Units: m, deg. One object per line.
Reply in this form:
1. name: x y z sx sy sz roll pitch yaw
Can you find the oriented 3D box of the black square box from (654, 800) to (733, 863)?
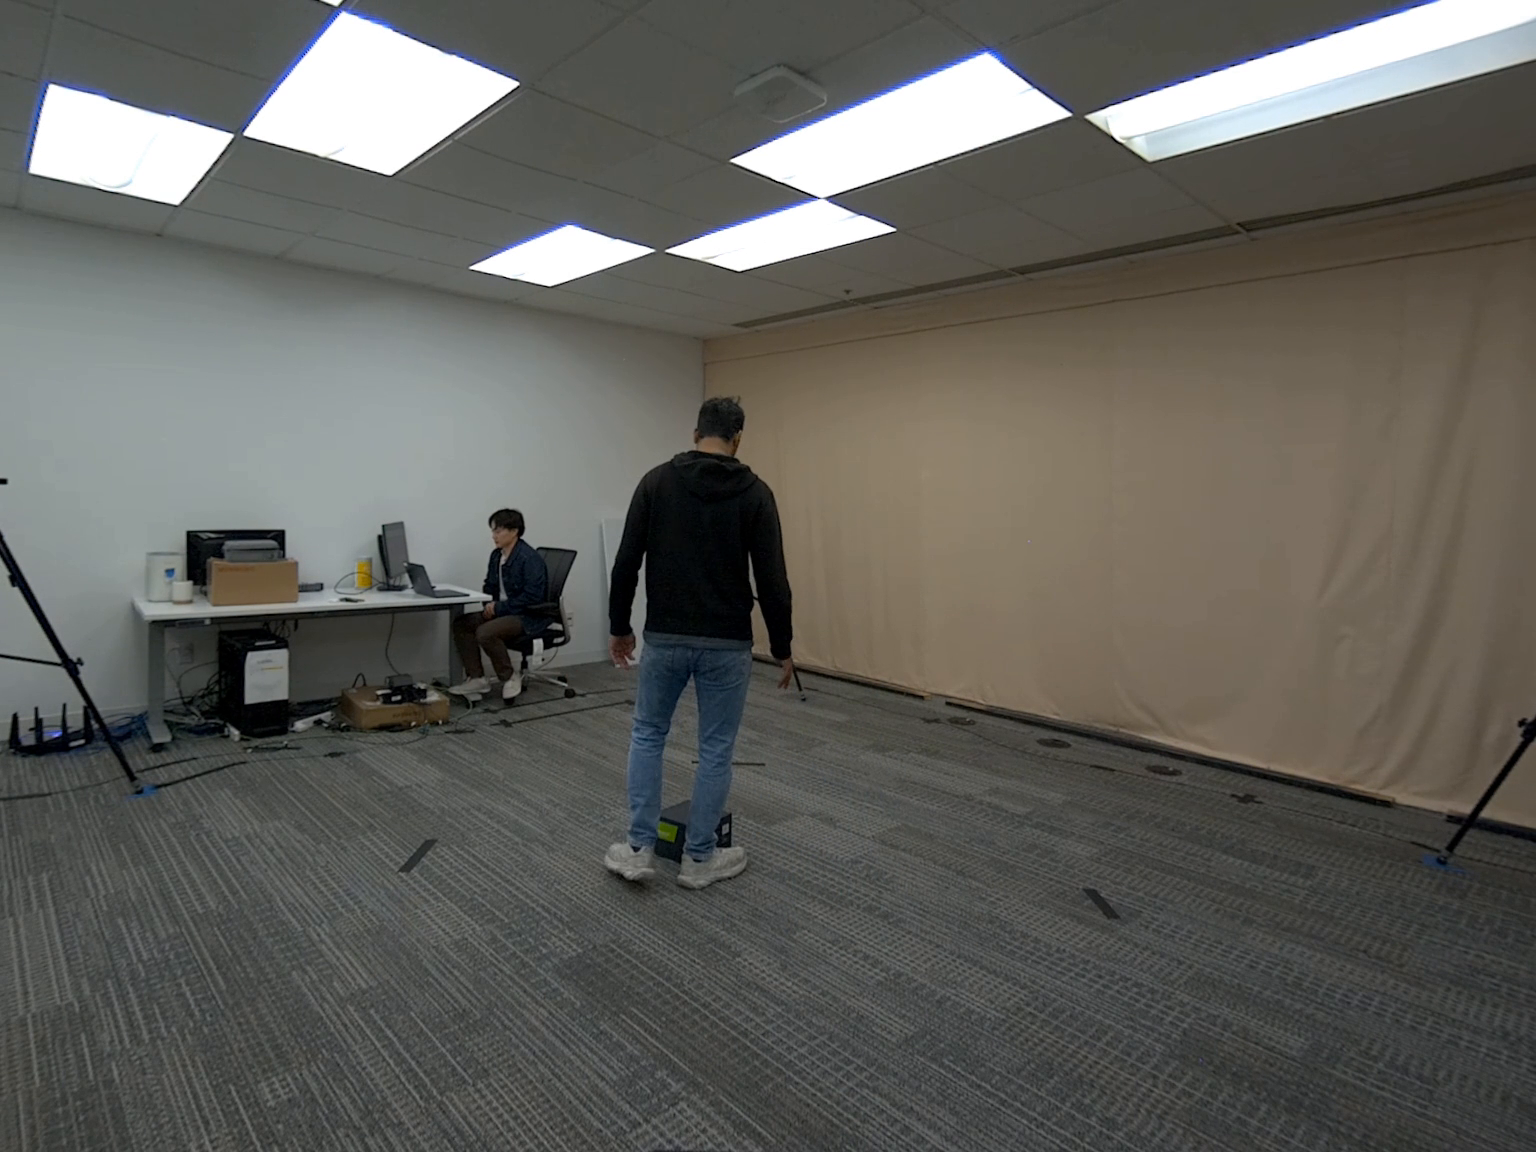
1. black square box: -0.300 1.004 3.301 0.233 0.155 0.212 5 5 36
